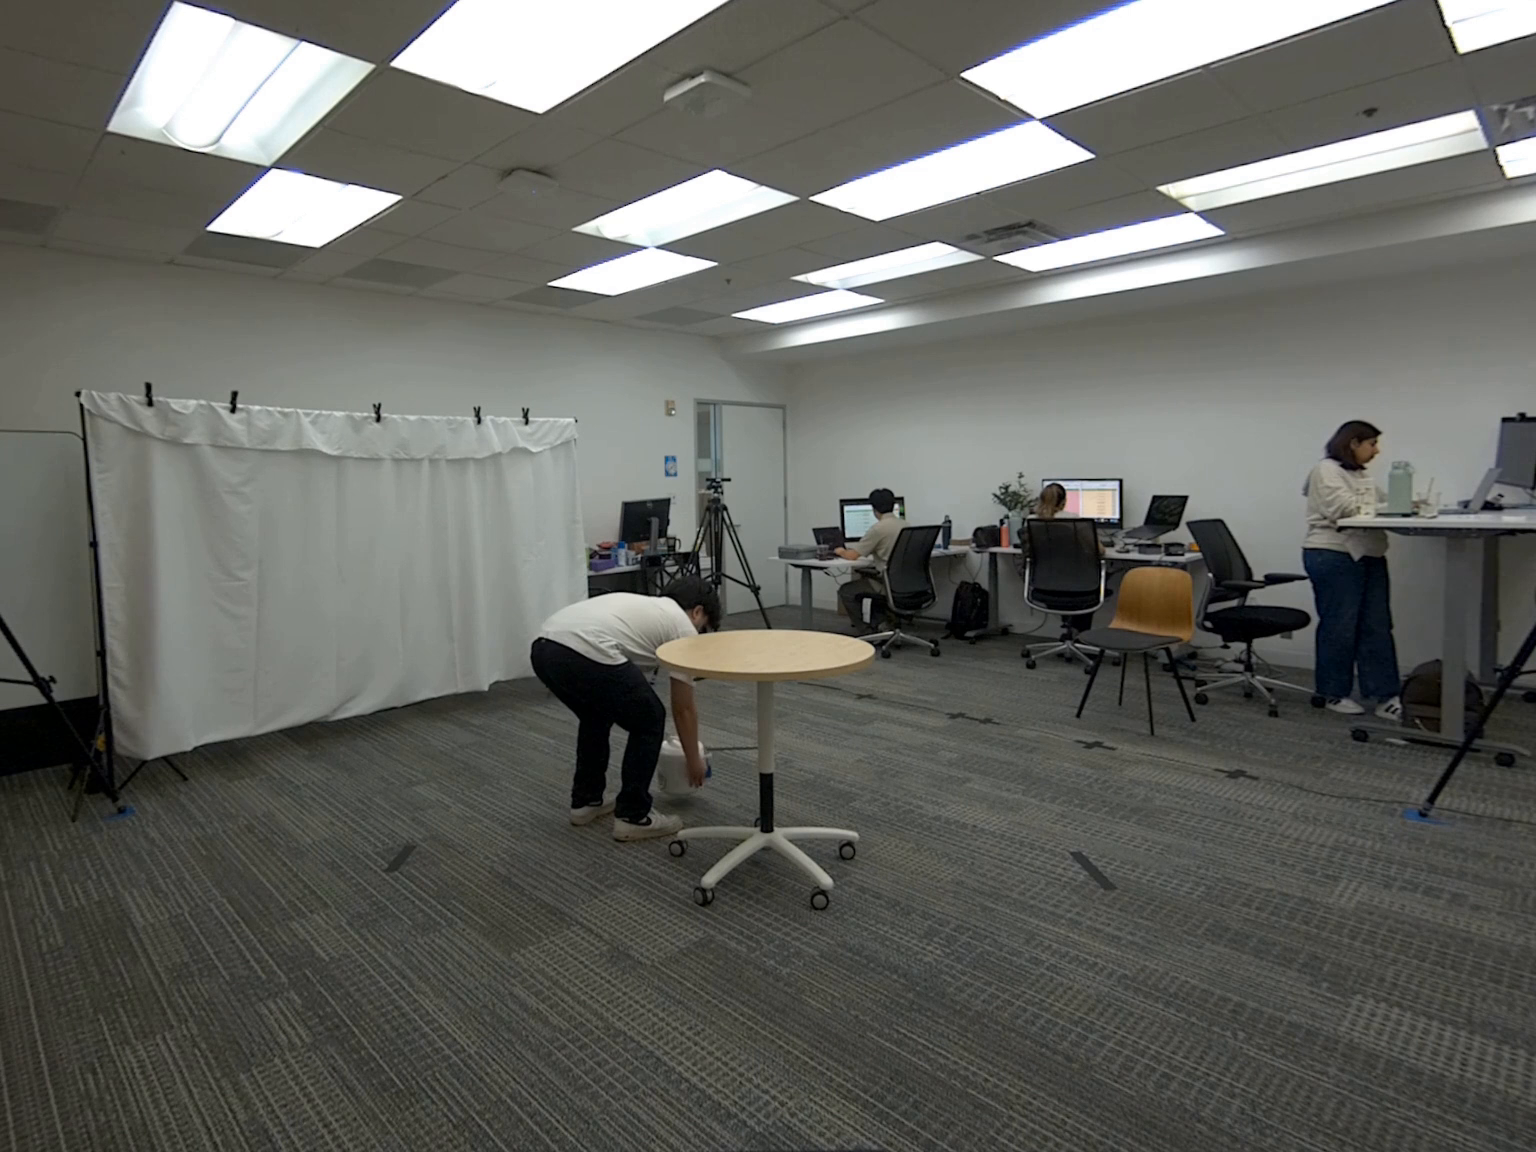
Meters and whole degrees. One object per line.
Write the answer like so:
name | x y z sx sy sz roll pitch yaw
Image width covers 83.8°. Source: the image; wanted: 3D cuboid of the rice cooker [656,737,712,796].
rice cooker | -0.381 0.810 3.710 0.212 0.231 0.227 -8 9 -42
